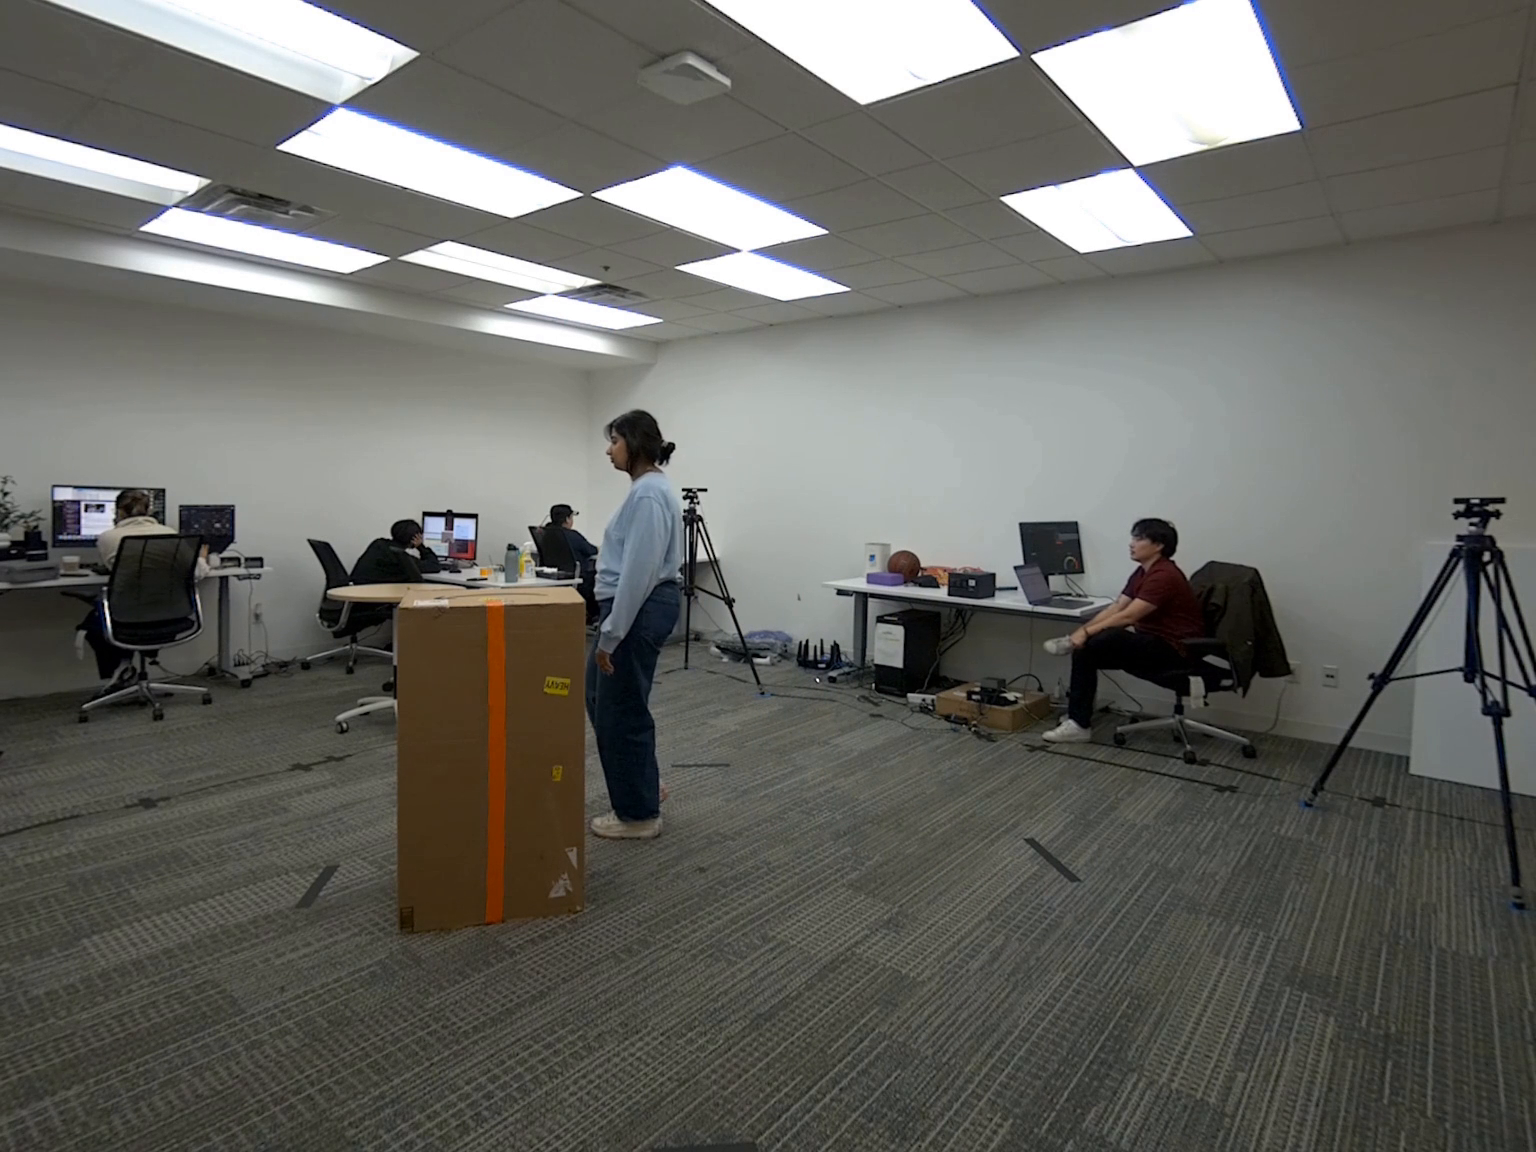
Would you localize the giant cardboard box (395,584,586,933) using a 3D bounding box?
[{"bbox_3d":[-0.948,0.576,2.866,0.567,1.022,0.435,-1,4,-18],"label":"giant cardboard box"}]
